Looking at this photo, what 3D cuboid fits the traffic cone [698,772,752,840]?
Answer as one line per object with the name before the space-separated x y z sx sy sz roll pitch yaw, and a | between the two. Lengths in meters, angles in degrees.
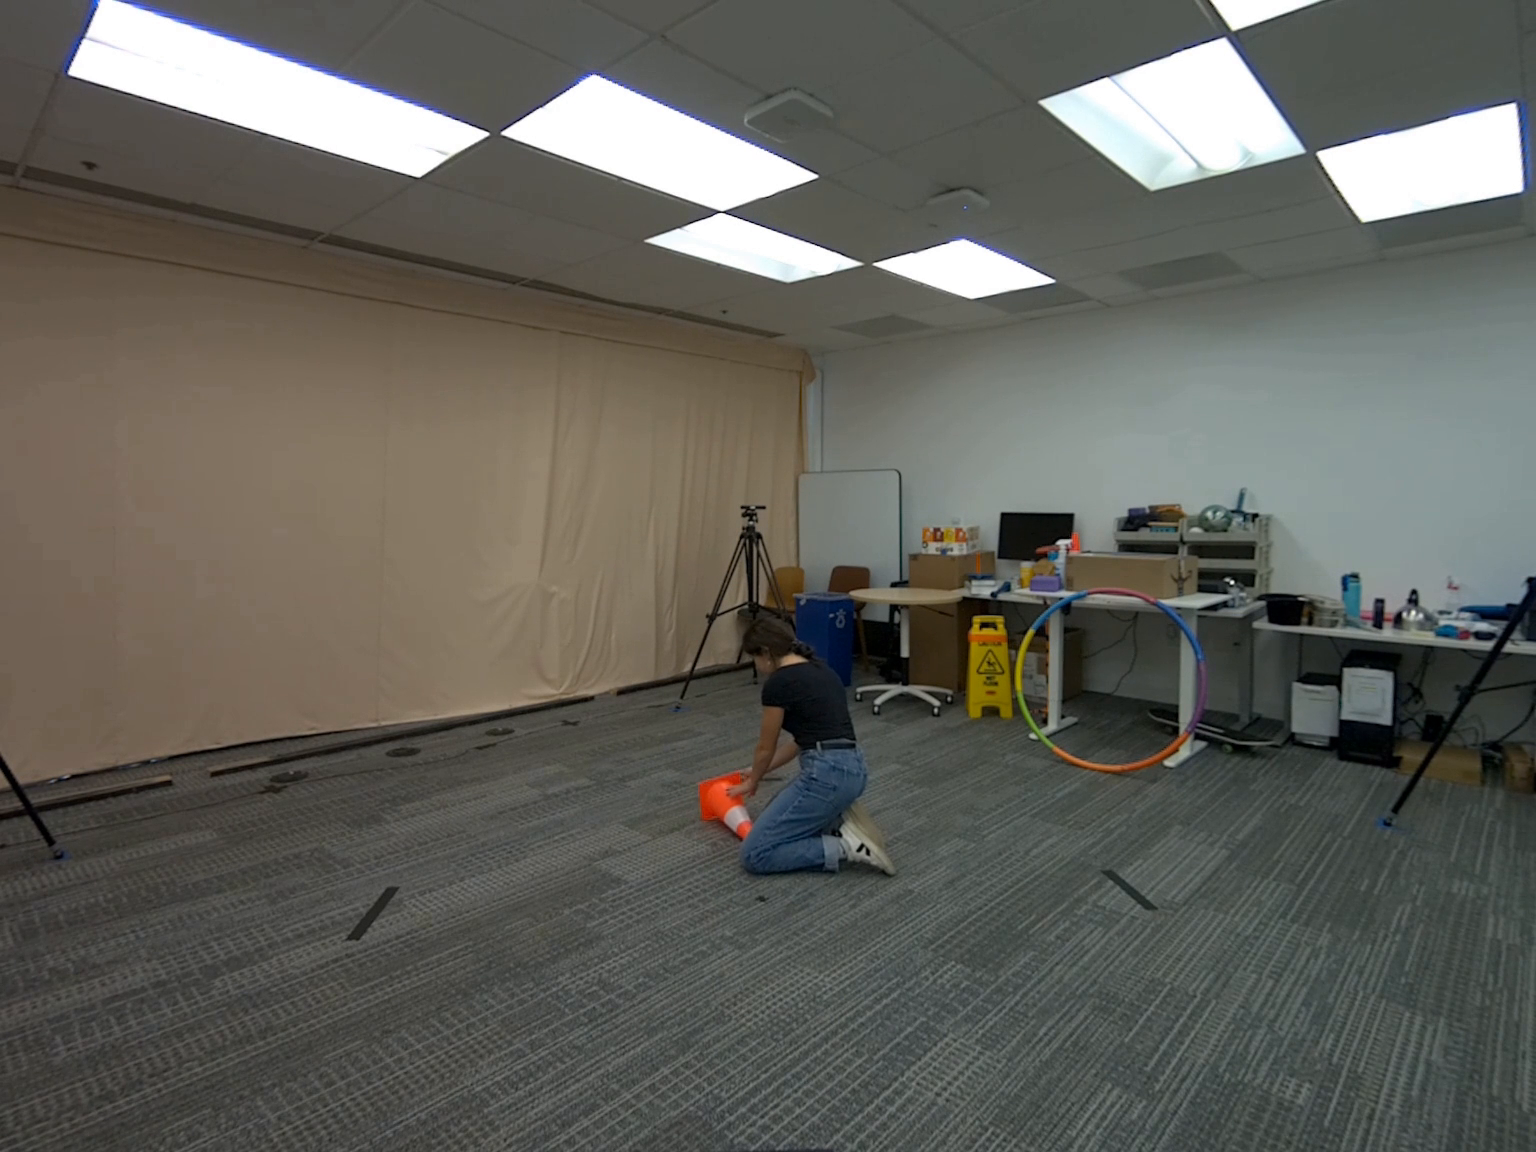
traffic cone | -0.126 1.044 3.572 0.201 0.201 0.396 -8 21 -23
